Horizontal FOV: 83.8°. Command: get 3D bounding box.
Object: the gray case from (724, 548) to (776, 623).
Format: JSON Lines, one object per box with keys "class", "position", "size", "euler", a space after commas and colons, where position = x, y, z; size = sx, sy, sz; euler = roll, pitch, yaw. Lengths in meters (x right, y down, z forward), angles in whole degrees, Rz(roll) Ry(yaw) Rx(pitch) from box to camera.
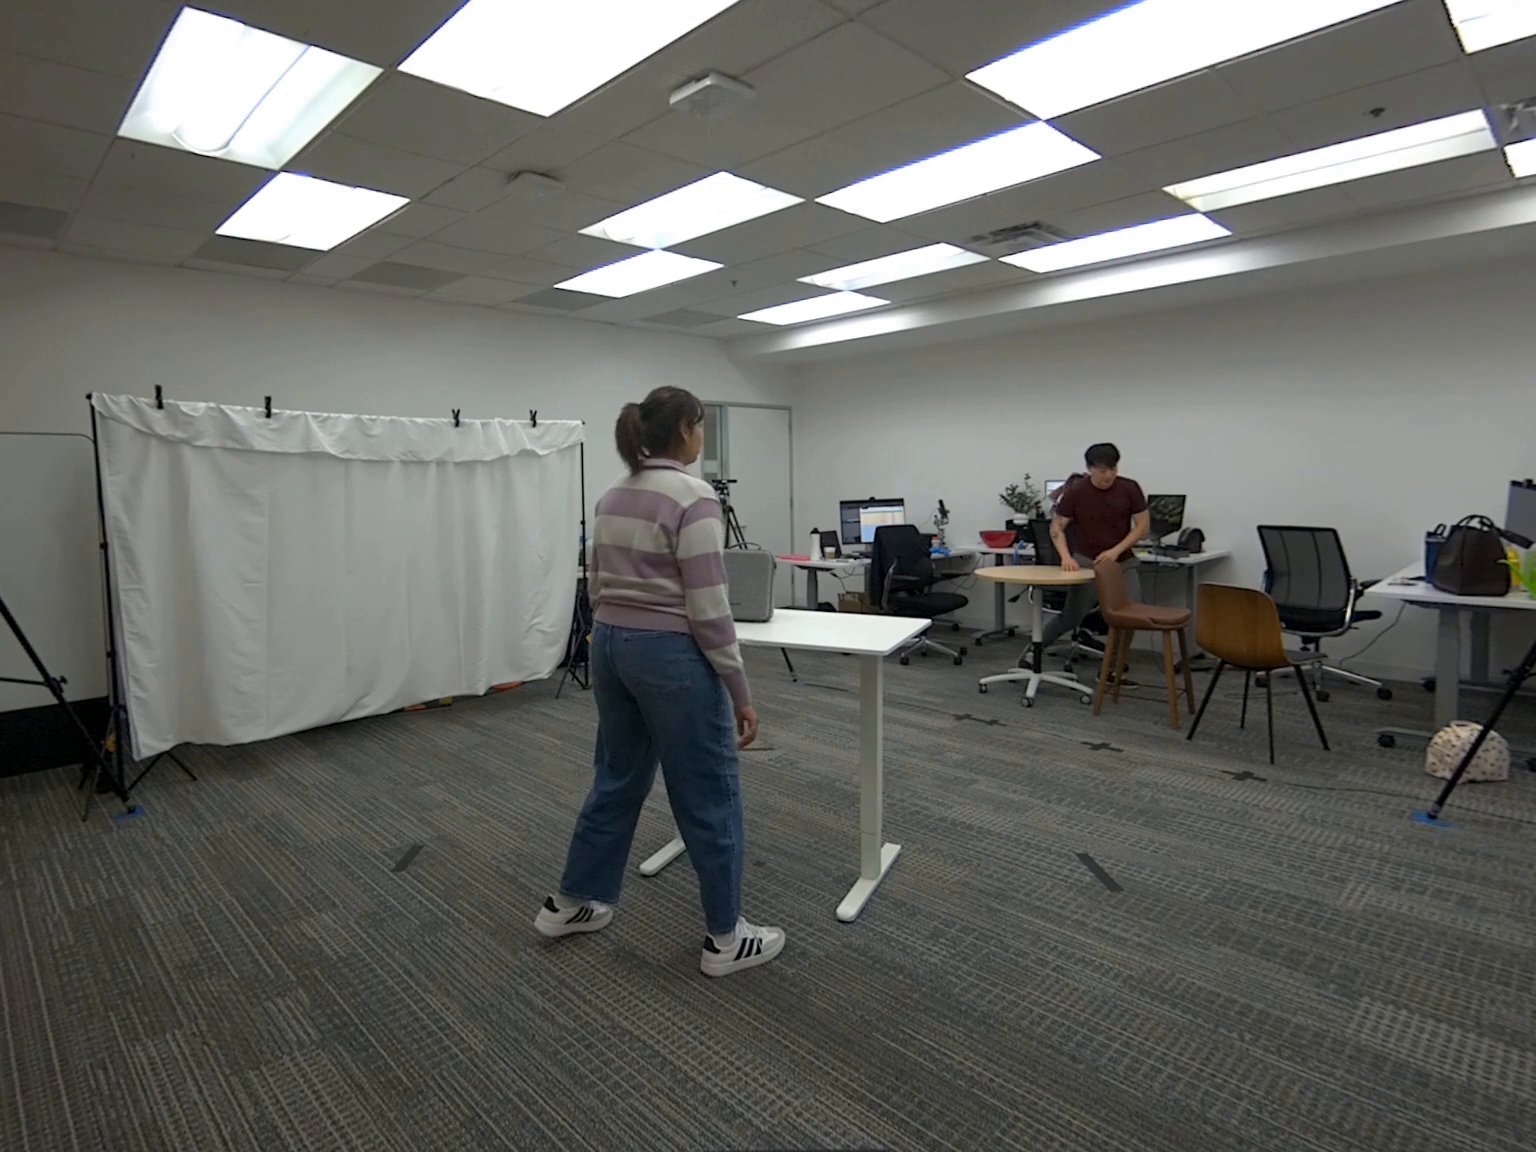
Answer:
{"class": "gray case", "position": [-0.102, 0.030, 3.129], "size": [0.261, 0.261, 0.102], "euler": [2, -4, 17]}
